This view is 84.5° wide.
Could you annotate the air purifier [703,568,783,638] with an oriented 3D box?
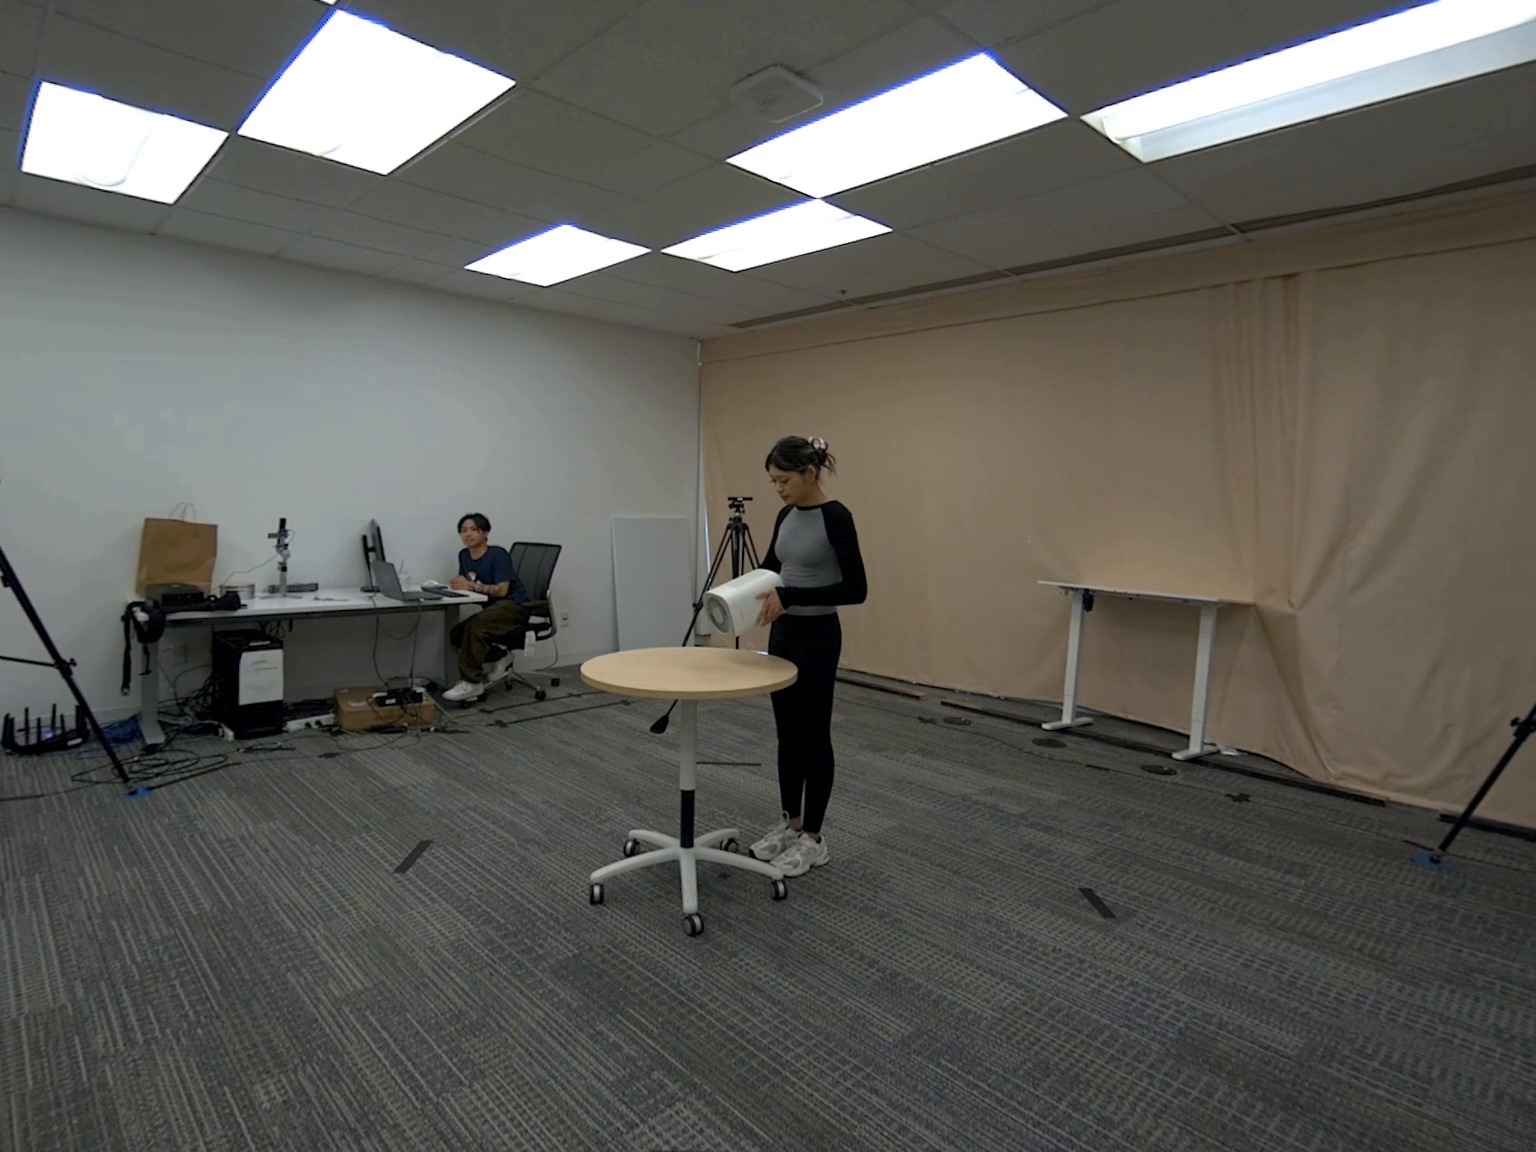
[{"bbox_3d":[-0.088,0.097,3.065,0.262,0.168,0.176,-23,19,-27],"label":"air purifier"}]
